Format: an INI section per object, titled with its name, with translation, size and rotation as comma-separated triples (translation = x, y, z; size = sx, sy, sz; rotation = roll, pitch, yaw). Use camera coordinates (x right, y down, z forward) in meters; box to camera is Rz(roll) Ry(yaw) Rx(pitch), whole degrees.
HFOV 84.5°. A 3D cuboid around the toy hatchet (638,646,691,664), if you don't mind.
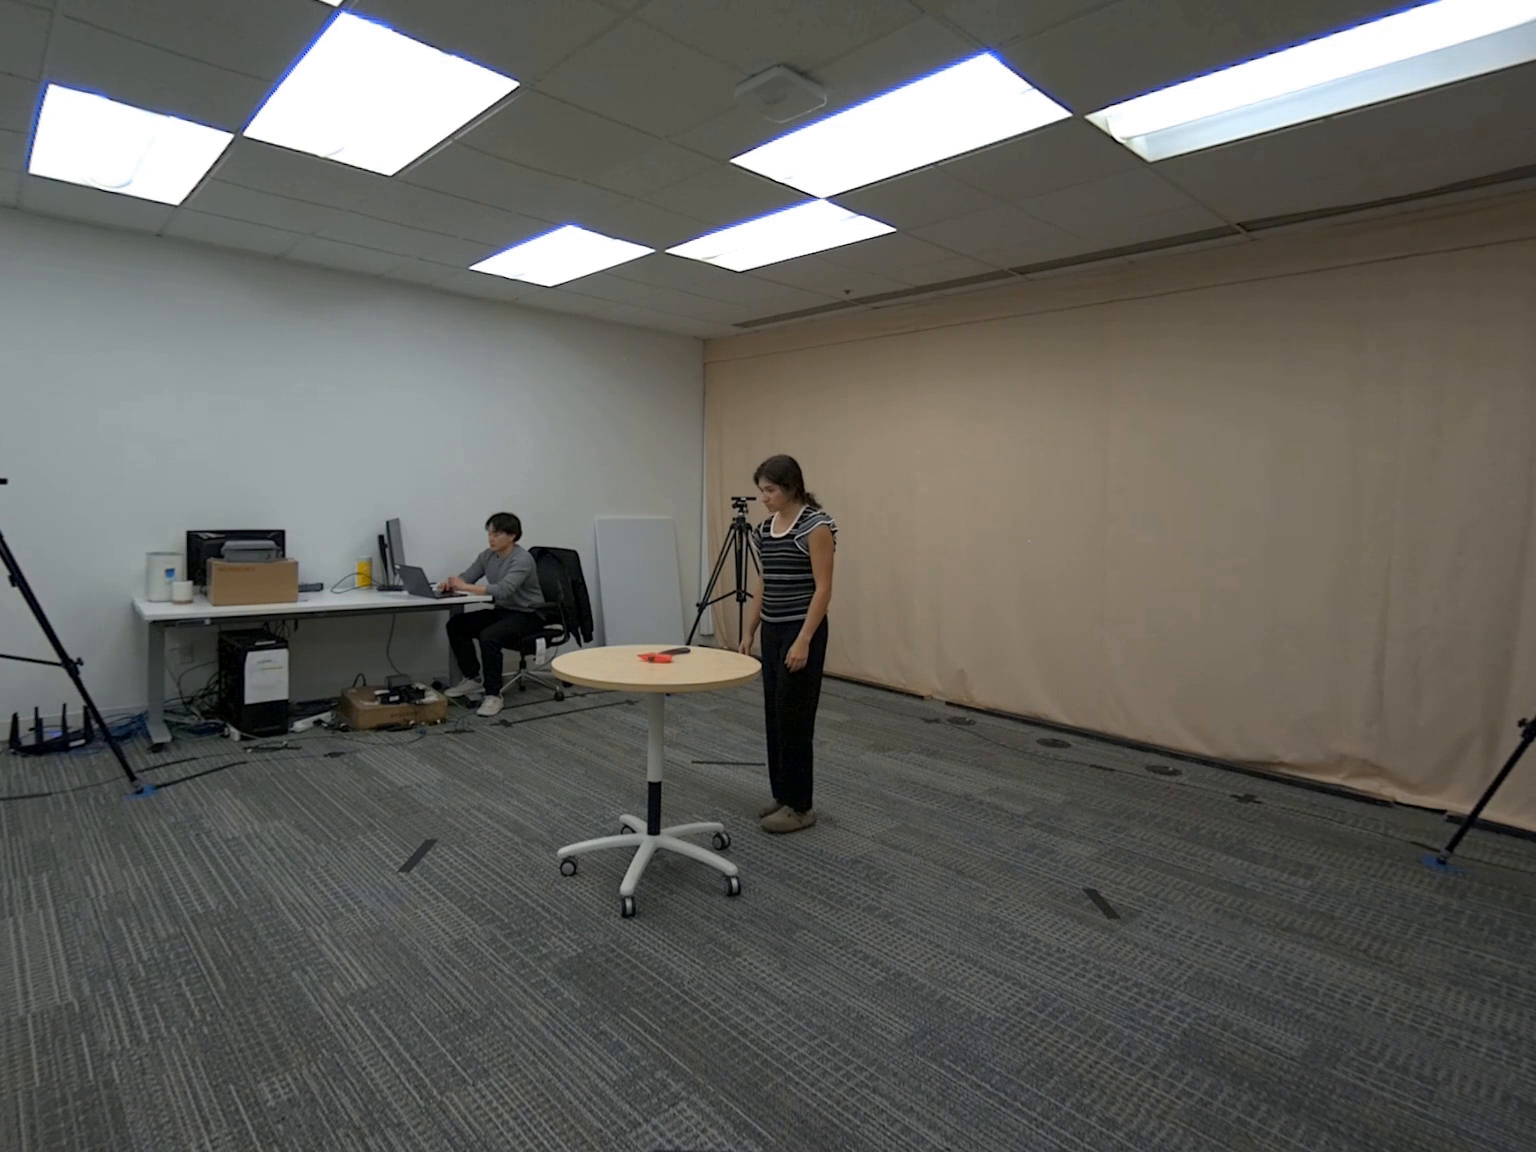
[toy hatchet]
translation = -0.380, 0.299, 3.195
size = 0.134, 0.029, 0.264
rotation = 6, 6, 35
